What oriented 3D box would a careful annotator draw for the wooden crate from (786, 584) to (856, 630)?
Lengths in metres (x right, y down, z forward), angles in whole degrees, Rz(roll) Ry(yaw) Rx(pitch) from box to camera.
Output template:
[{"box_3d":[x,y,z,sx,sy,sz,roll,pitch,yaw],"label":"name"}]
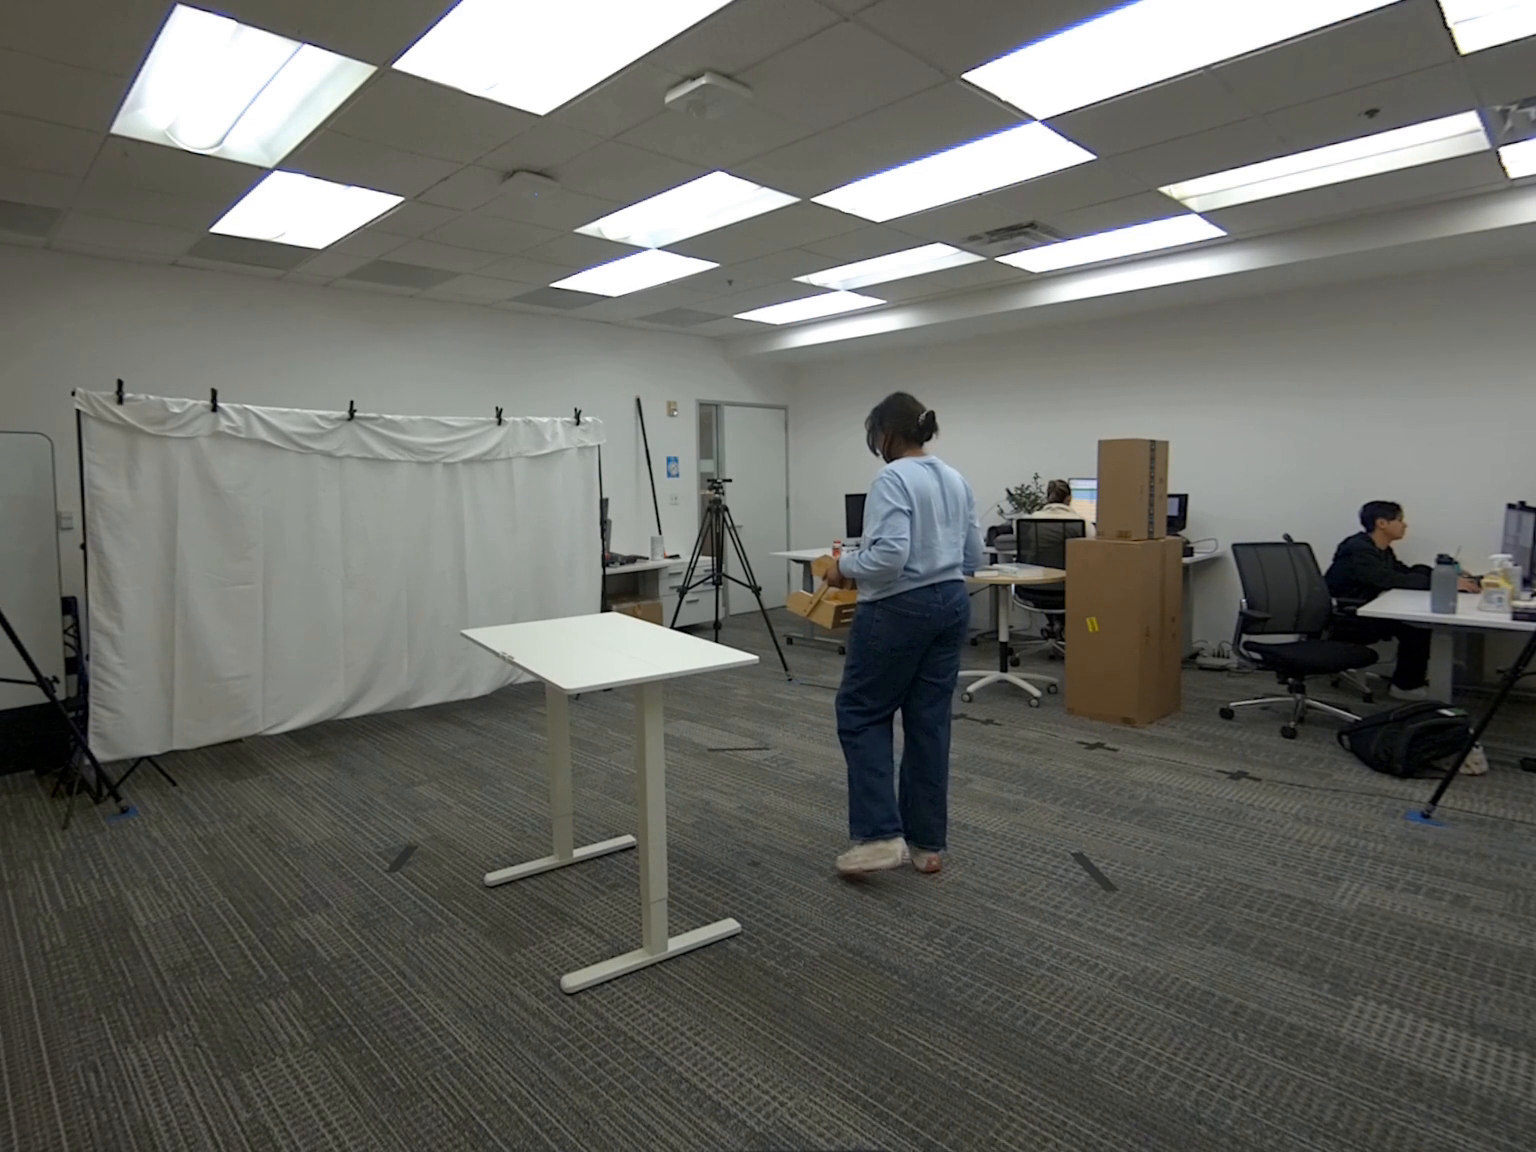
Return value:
[{"box_3d":[0.299,0.028,3.301,0.316,0.270,0.313,-5,20,-44],"label":"wooden crate"}]
